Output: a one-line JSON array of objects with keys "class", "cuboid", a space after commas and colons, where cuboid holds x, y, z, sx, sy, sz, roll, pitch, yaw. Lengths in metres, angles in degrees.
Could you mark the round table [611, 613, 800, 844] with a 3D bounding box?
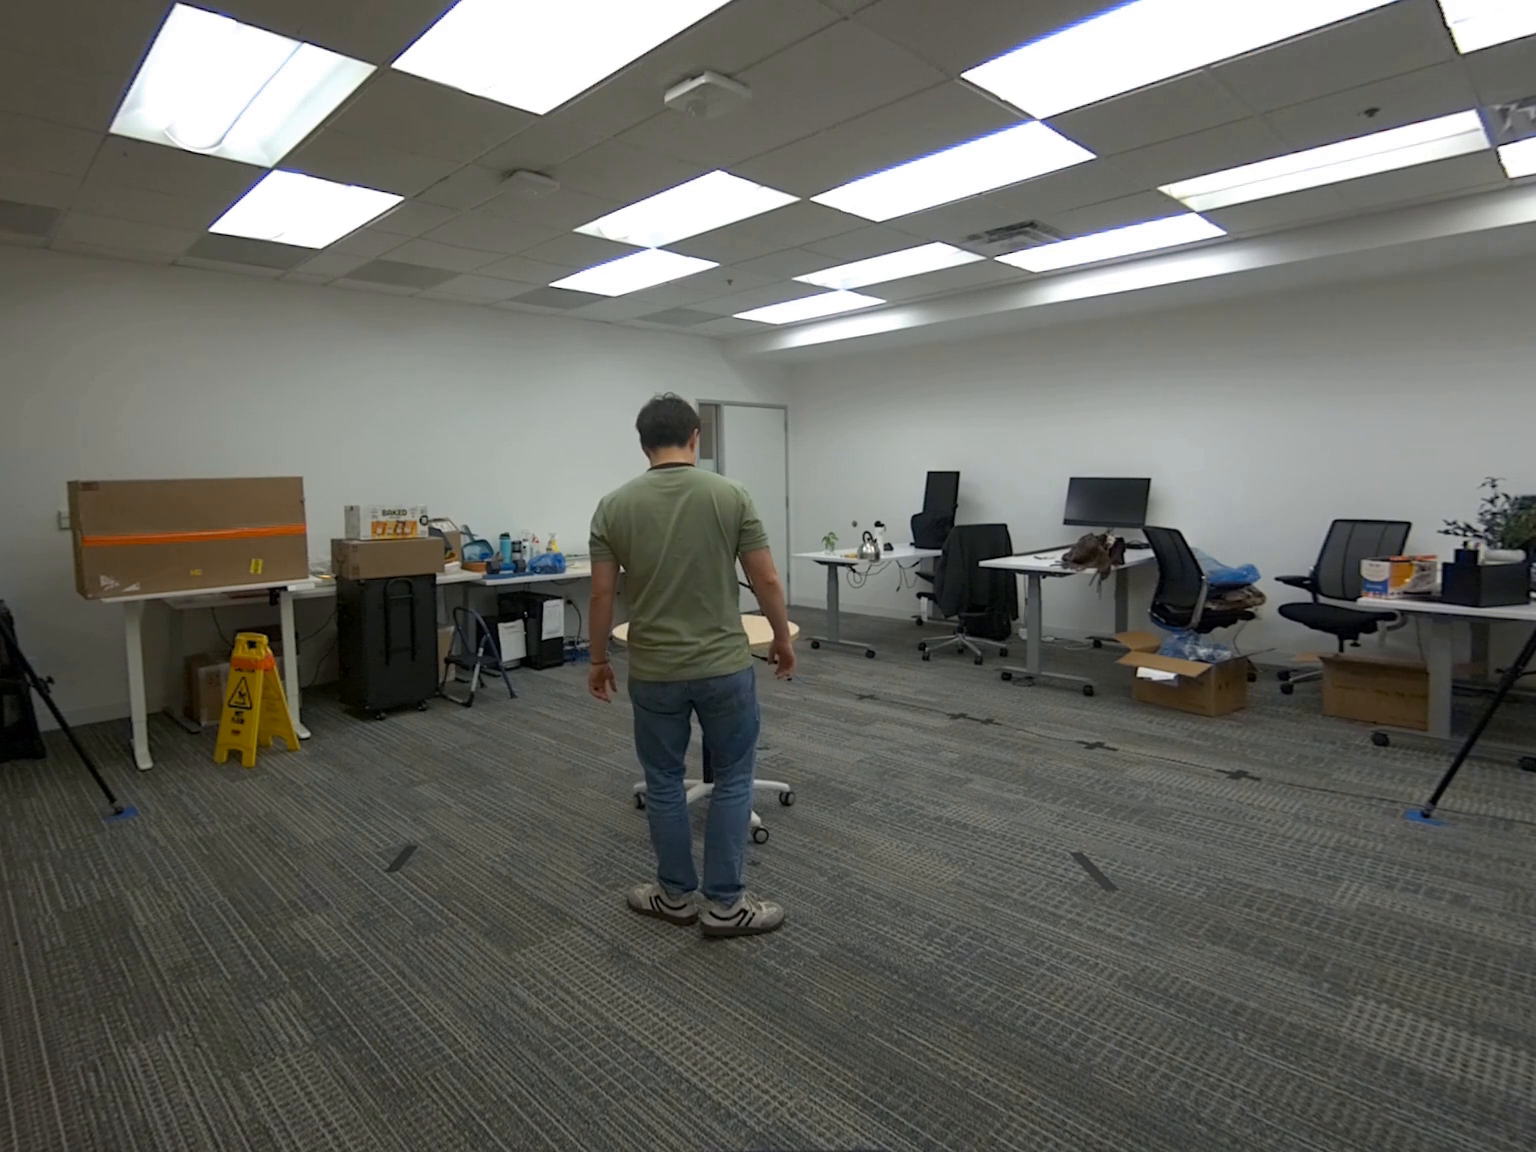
[{"class": "round table", "cuboid": [-0.243, 0.610, 3.538, 0.763, 0.791, 0.768, -1, 5, -2]}]
